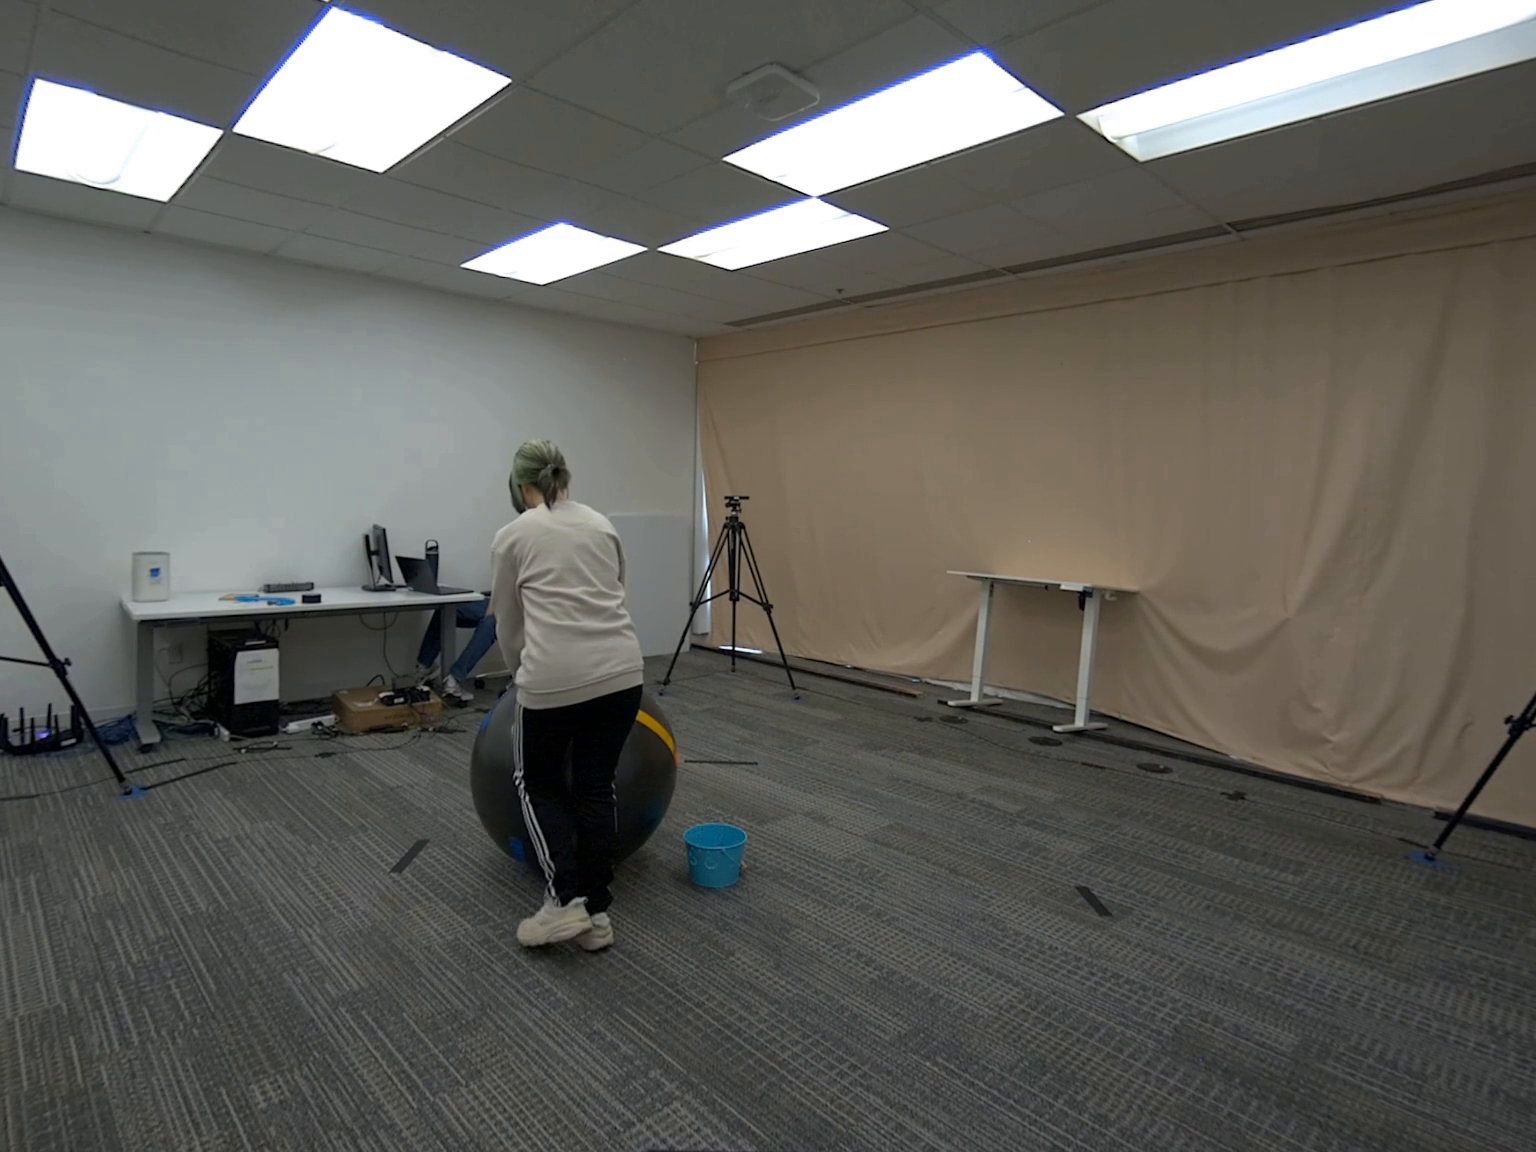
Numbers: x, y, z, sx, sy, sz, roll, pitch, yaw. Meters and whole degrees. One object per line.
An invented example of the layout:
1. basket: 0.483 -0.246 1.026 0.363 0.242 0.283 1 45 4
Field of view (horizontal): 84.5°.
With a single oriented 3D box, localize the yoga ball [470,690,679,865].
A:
1. yoga ball: -0.725 0.721 3.149 0.757 0.756 0.761 1 4 -1
